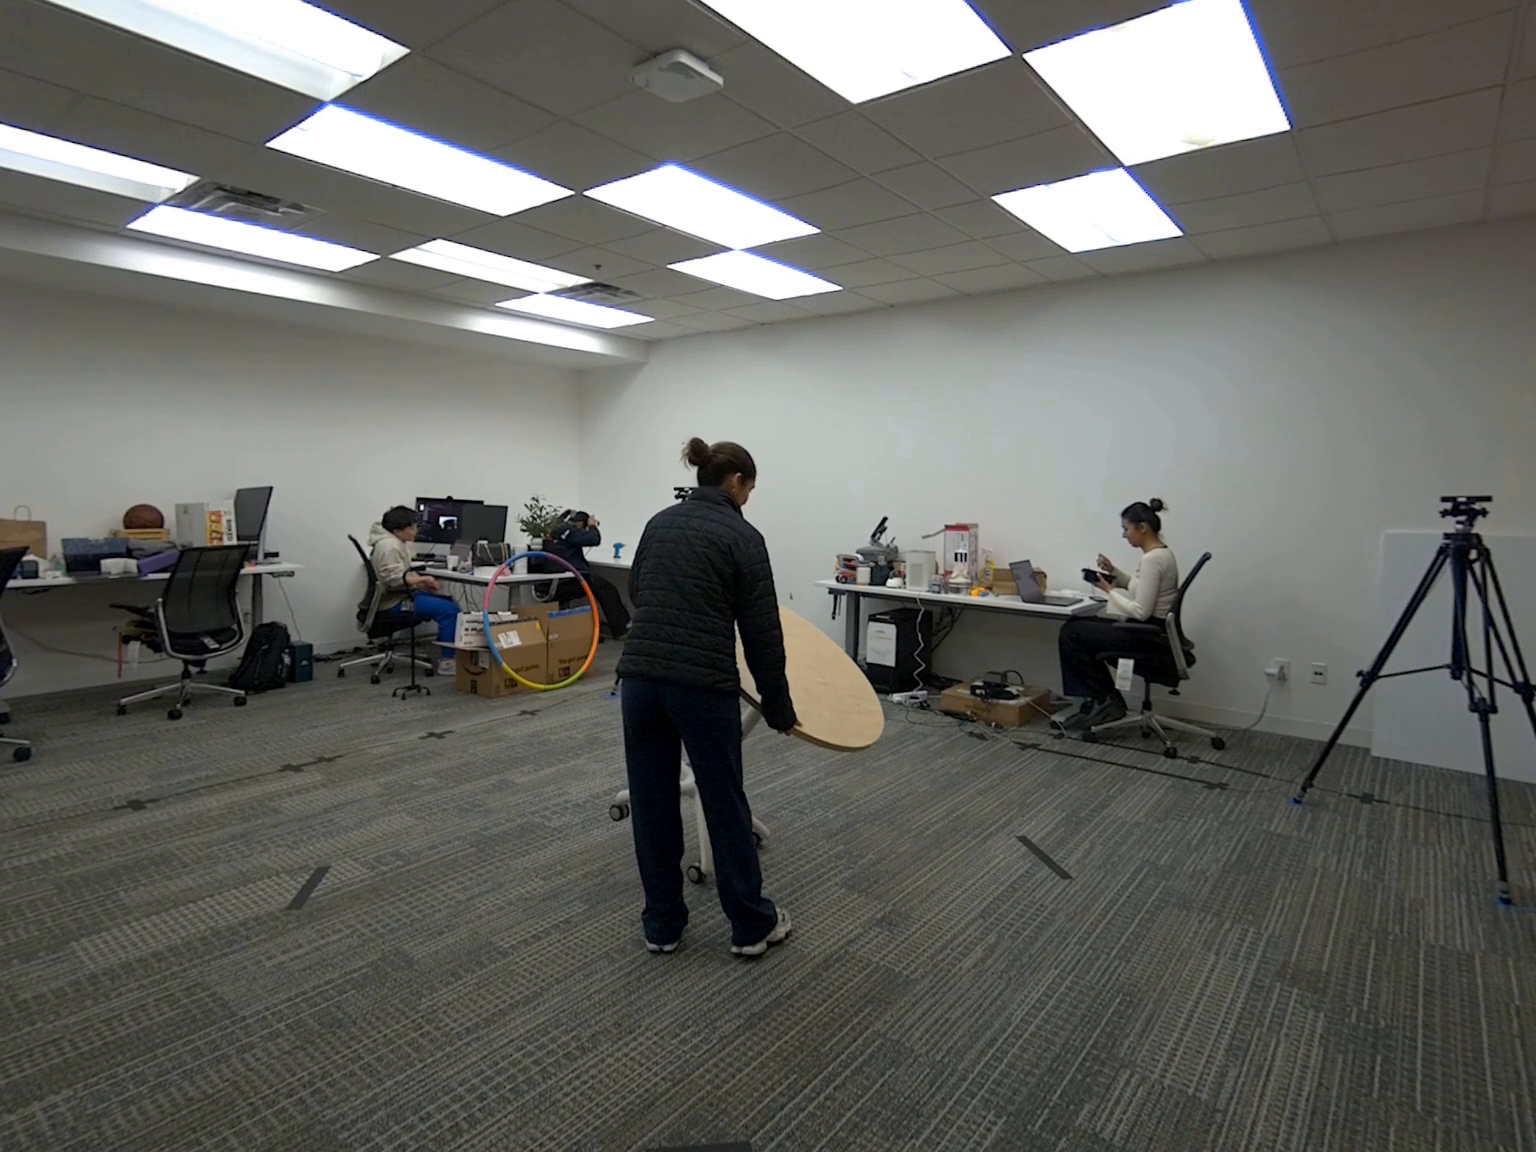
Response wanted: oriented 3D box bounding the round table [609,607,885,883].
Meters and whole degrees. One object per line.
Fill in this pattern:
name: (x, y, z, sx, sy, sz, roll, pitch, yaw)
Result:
round table: (-0.122, 0.587, 3.145, 0.770, 0.783, 0.804, 29, 22, -15)
